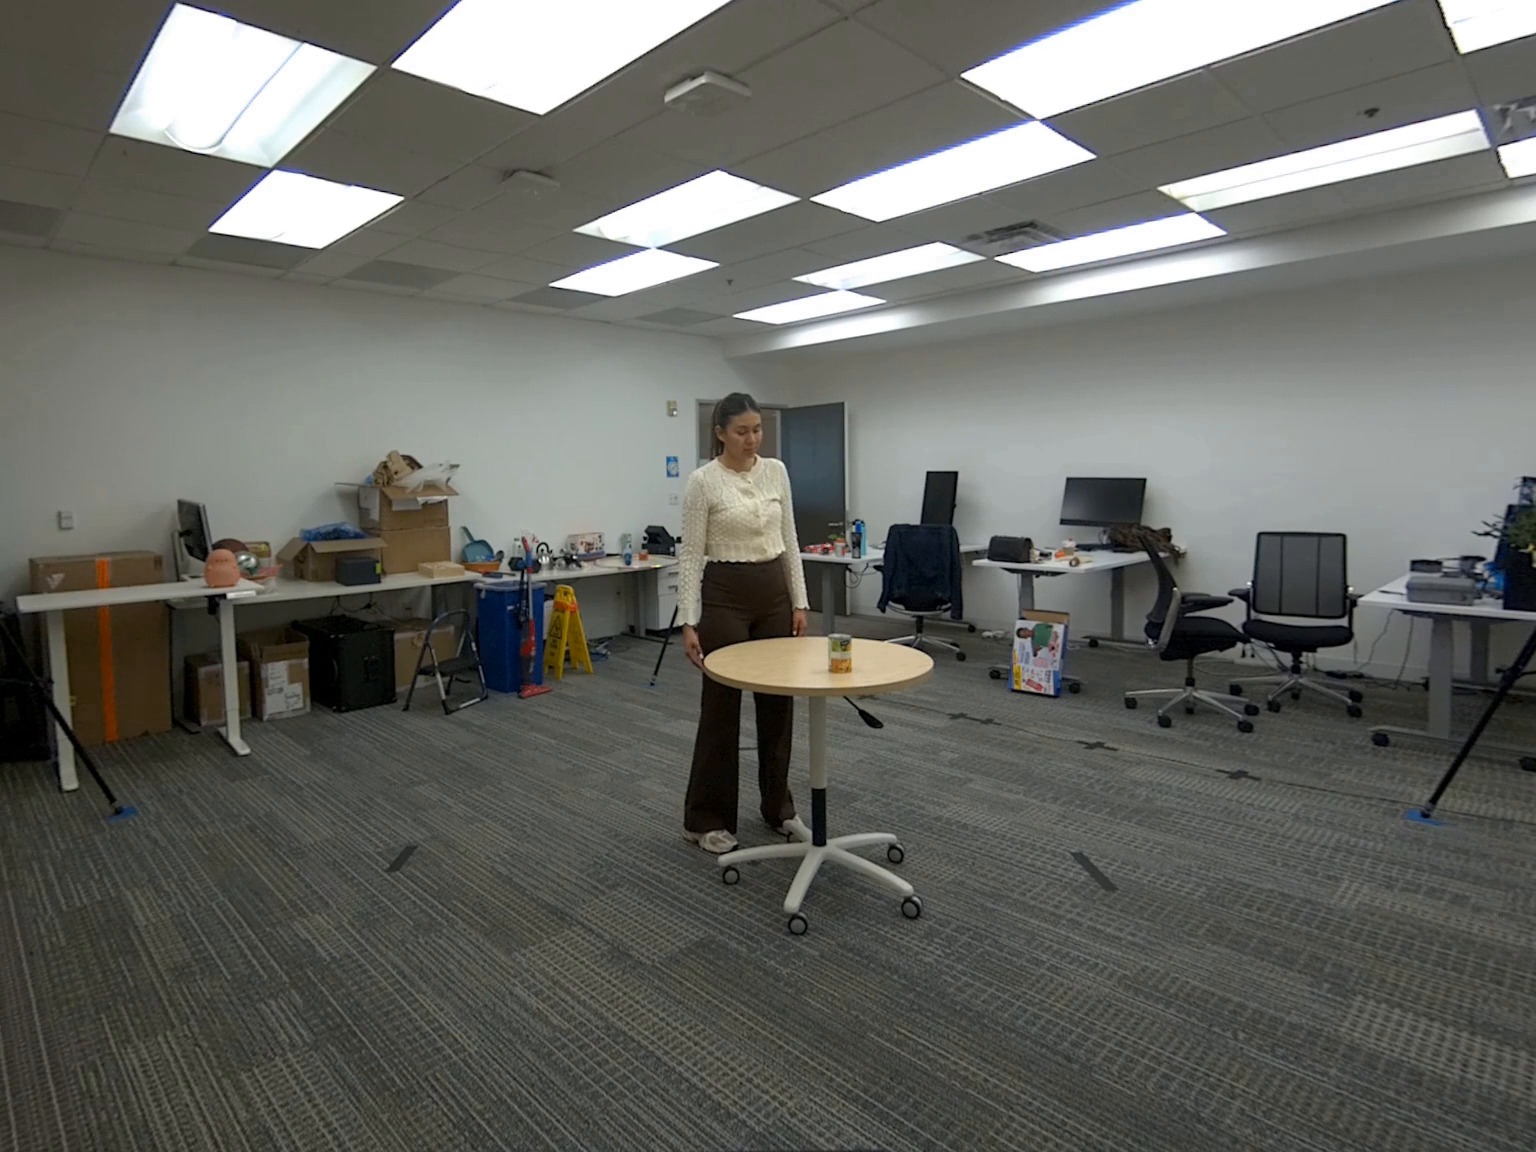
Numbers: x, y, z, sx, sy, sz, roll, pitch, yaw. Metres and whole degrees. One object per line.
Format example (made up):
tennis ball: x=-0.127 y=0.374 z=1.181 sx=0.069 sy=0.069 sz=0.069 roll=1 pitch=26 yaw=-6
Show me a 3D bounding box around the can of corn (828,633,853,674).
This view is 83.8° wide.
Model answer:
can of corn: x=0.236 y=0.249 z=2.715 sx=0.074 sy=0.110 sz=0.074 roll=0 pitch=5 yaw=-2
